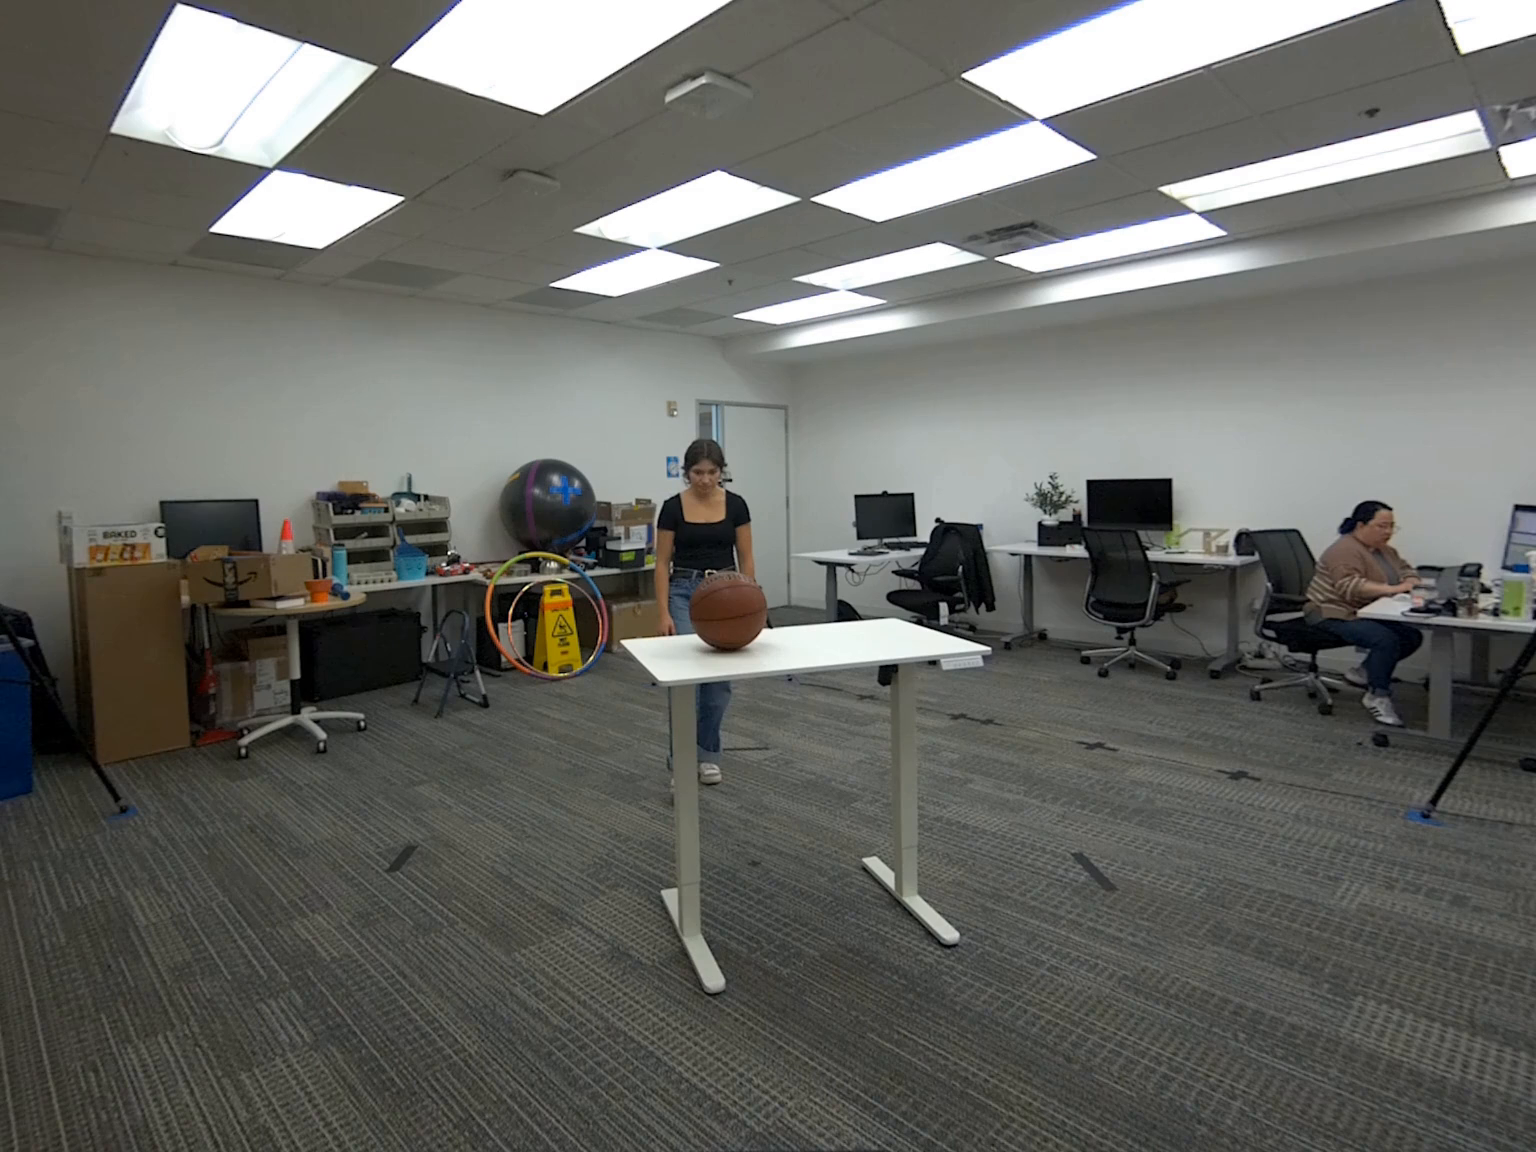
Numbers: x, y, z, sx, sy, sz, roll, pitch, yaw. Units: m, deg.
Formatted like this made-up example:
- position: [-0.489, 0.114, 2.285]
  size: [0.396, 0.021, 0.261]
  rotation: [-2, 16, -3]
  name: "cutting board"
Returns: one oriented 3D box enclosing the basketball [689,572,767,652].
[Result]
- position: [-0.129, 0.105, 2.600]
  size: [0.236, 0.235, 0.237]
  rotation: [-1, 5, -2]
  name: "basketball"
